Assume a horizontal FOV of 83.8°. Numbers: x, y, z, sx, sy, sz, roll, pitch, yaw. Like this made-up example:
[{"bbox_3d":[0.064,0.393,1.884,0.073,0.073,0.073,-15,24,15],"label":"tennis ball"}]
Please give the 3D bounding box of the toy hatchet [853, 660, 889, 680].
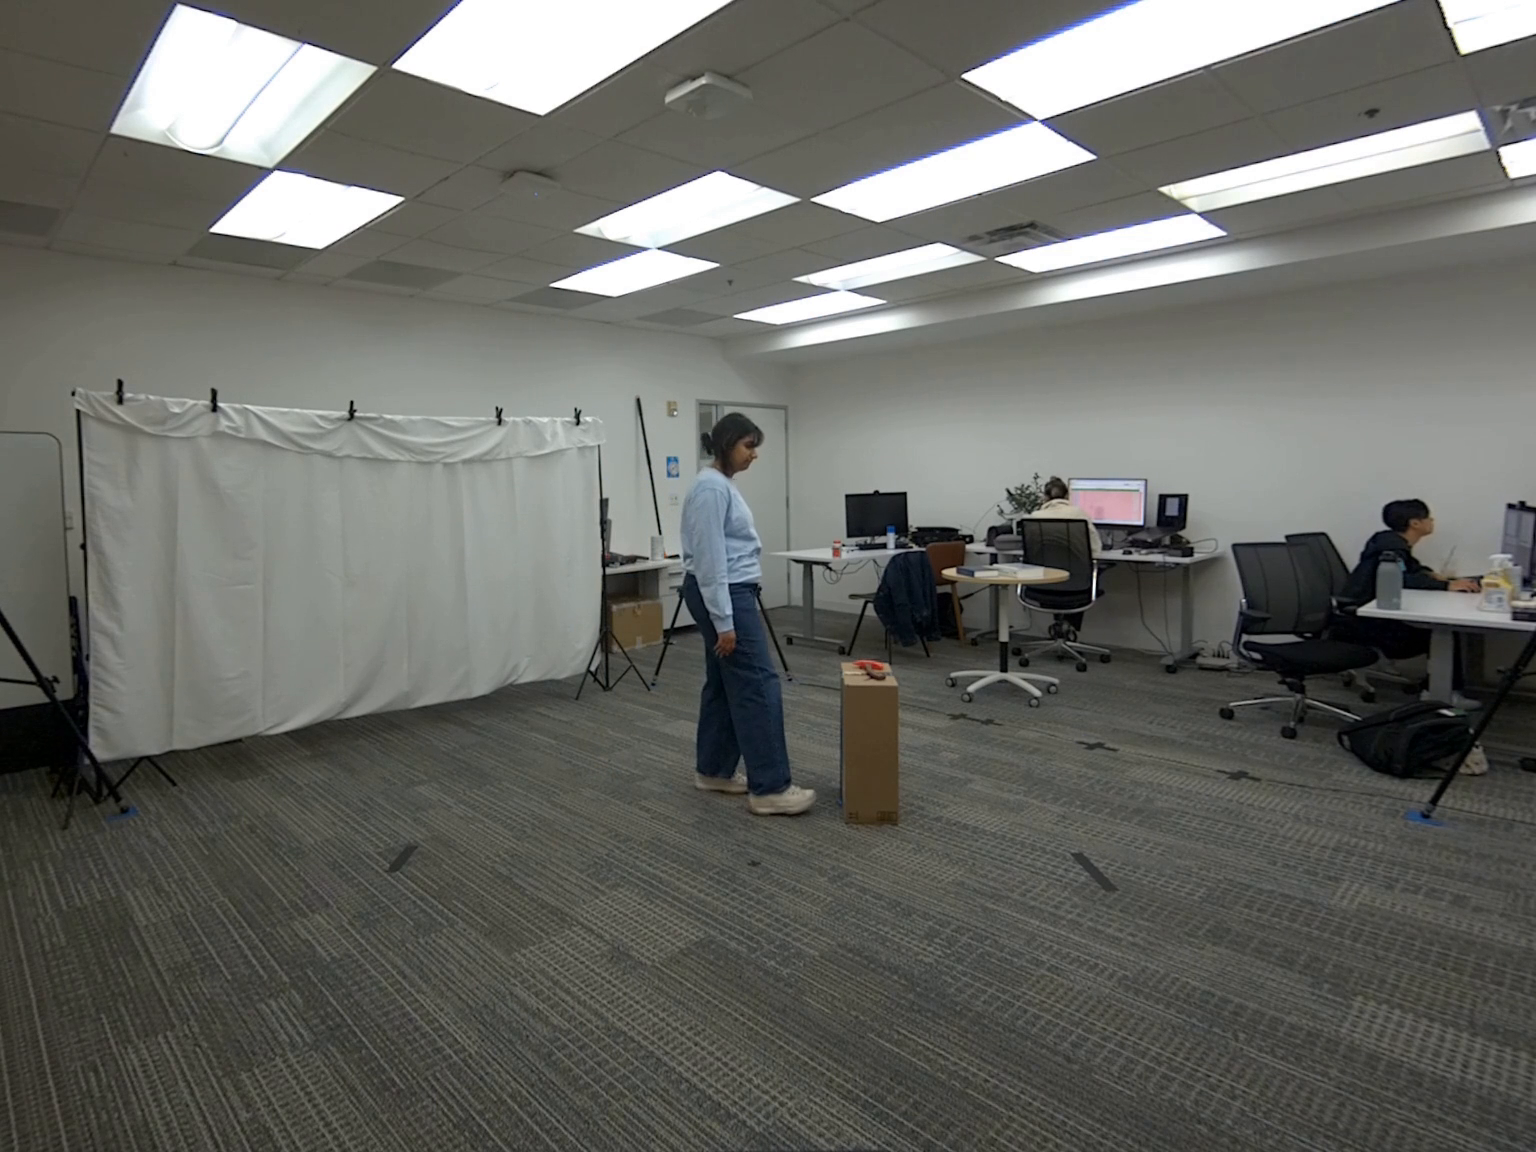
[{"bbox_3d":[0.466,0.400,3.619,0.129,0.029,0.275,3,6,-16],"label":"toy hatchet"}]
